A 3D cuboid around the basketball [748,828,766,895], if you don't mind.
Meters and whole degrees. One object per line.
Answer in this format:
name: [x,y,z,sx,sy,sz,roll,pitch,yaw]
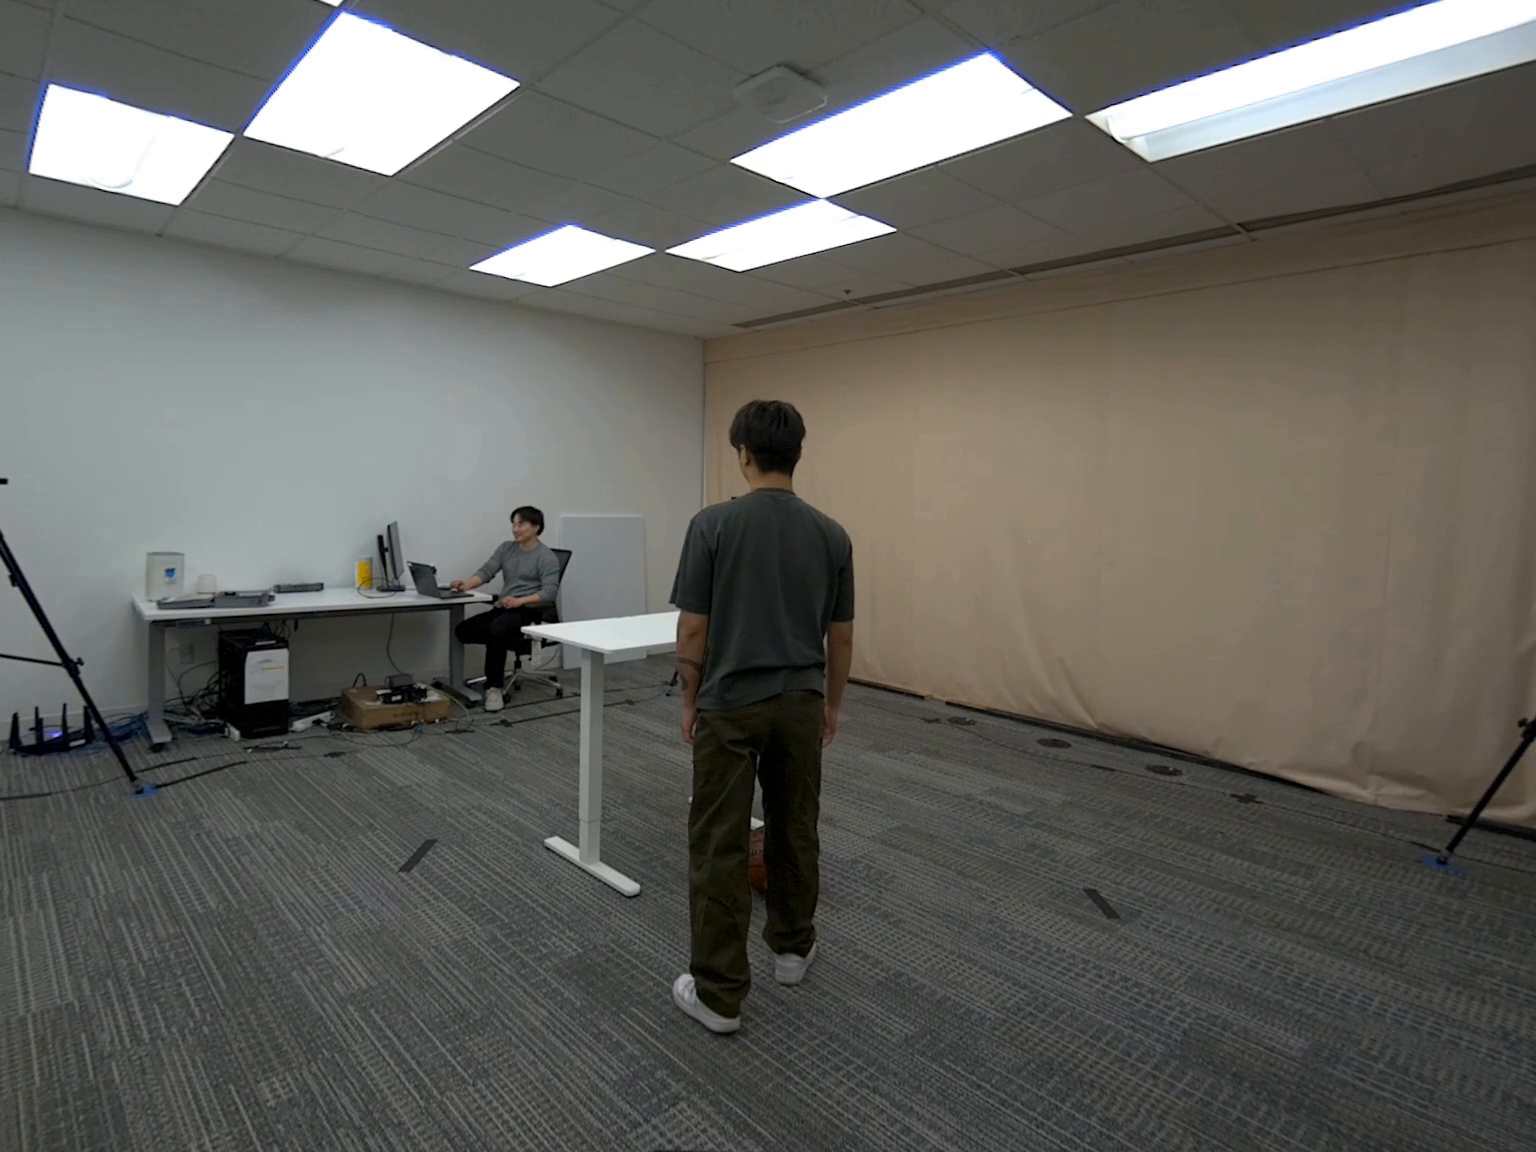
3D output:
basketball: [0.021,1.007,2.967,0.236,0.235,0.237,1,4,-1]
